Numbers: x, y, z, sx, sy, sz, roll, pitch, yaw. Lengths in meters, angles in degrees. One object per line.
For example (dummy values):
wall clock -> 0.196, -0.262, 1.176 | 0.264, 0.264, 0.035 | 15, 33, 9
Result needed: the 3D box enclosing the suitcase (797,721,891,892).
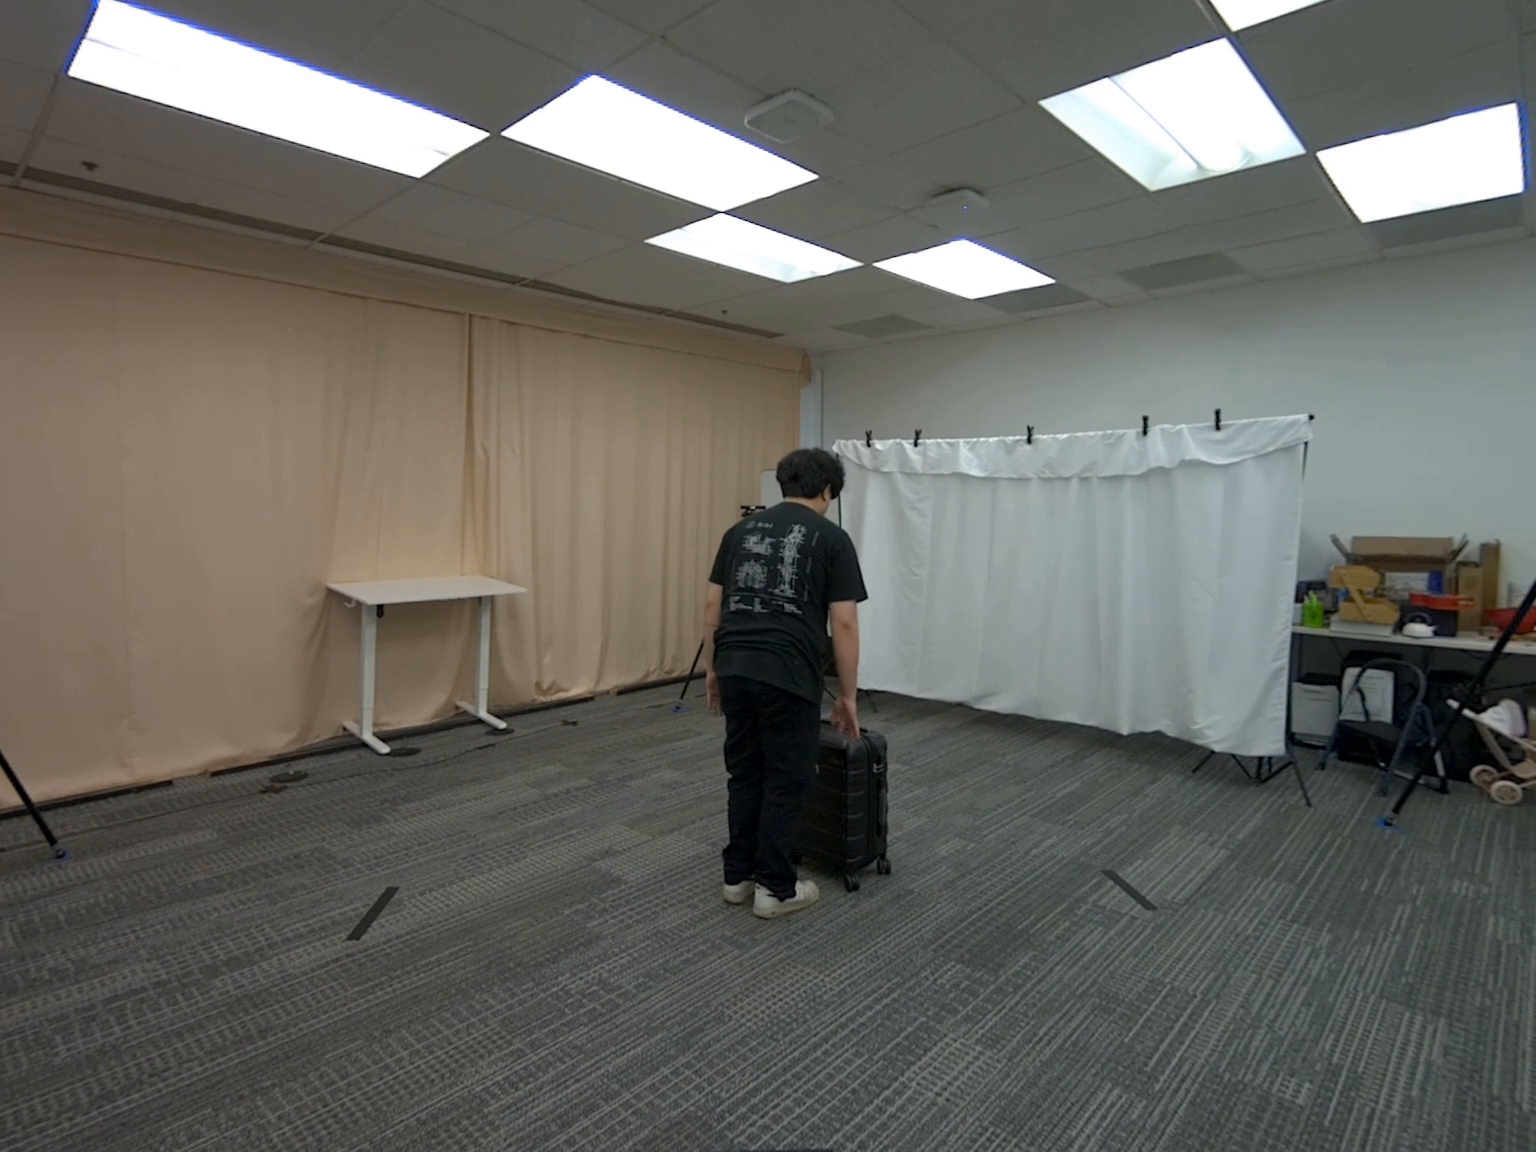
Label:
suitcase -> 0.270, 0.844, 3.229 | 0.241, 0.548, 0.388 | -3, 4, -44
